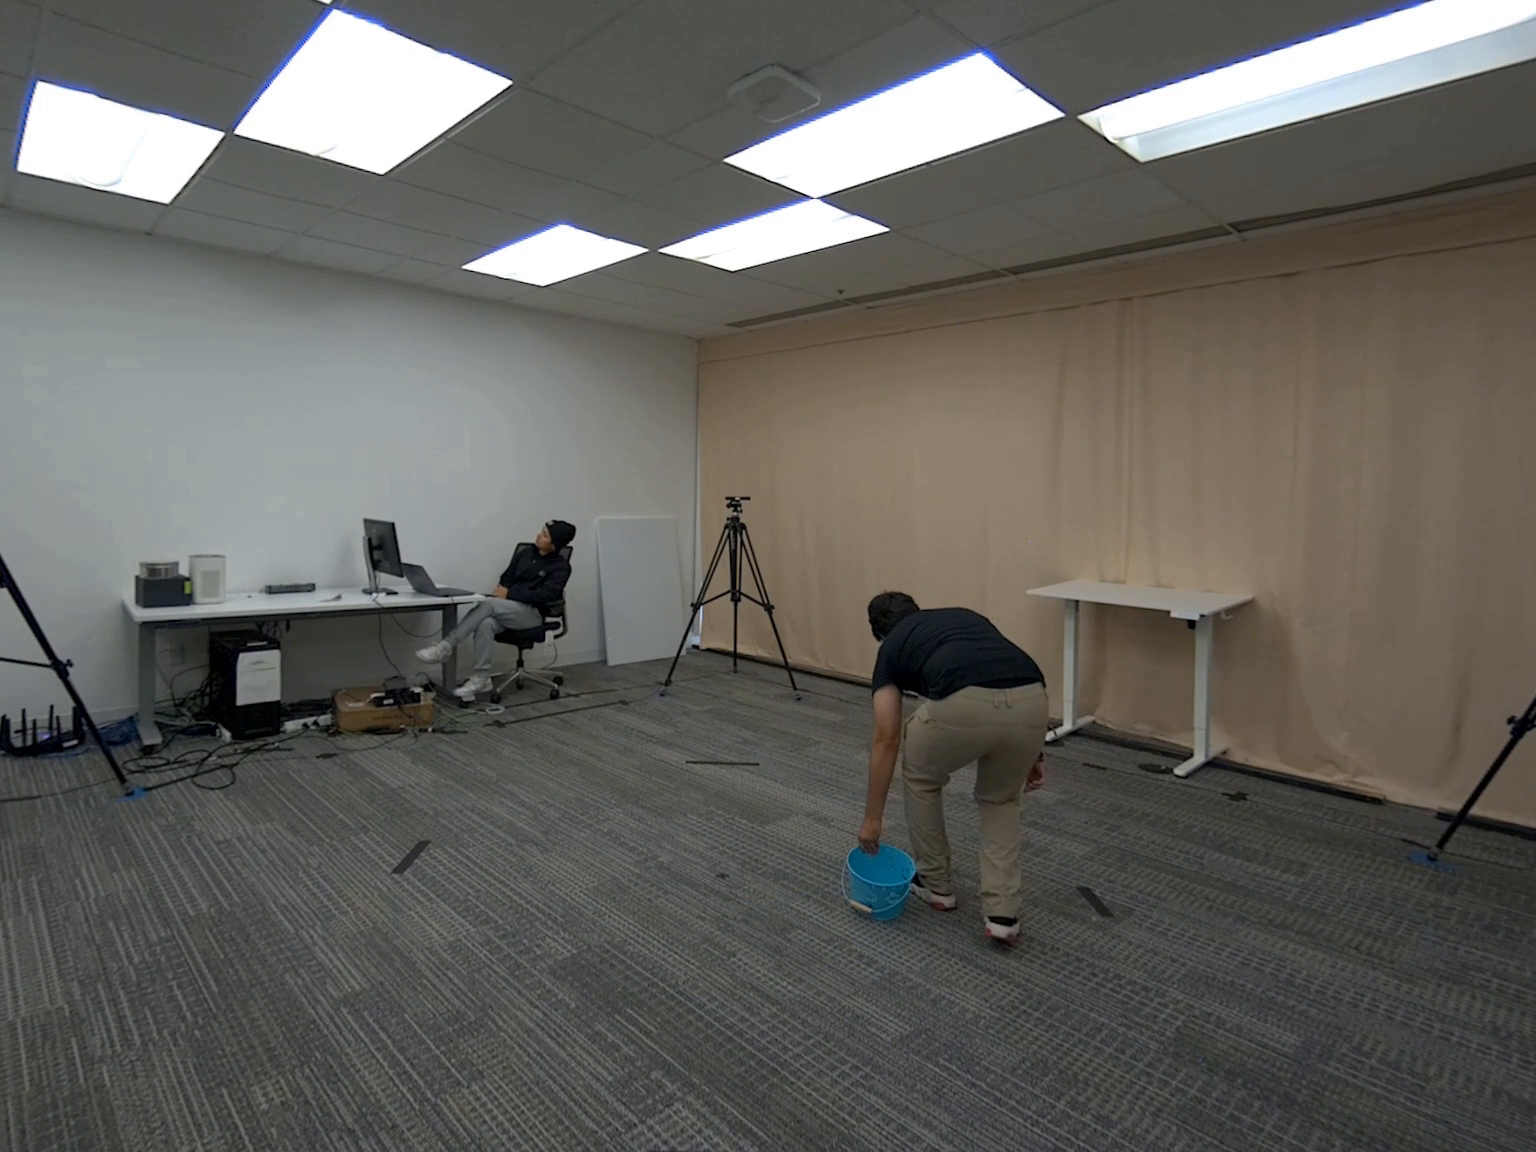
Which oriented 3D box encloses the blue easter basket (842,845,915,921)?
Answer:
[{"bbox_3d":[0.372,1.044,2.870,0.243,0.154,0.246,2,14,-2],"label":"blue easter basket"}]
